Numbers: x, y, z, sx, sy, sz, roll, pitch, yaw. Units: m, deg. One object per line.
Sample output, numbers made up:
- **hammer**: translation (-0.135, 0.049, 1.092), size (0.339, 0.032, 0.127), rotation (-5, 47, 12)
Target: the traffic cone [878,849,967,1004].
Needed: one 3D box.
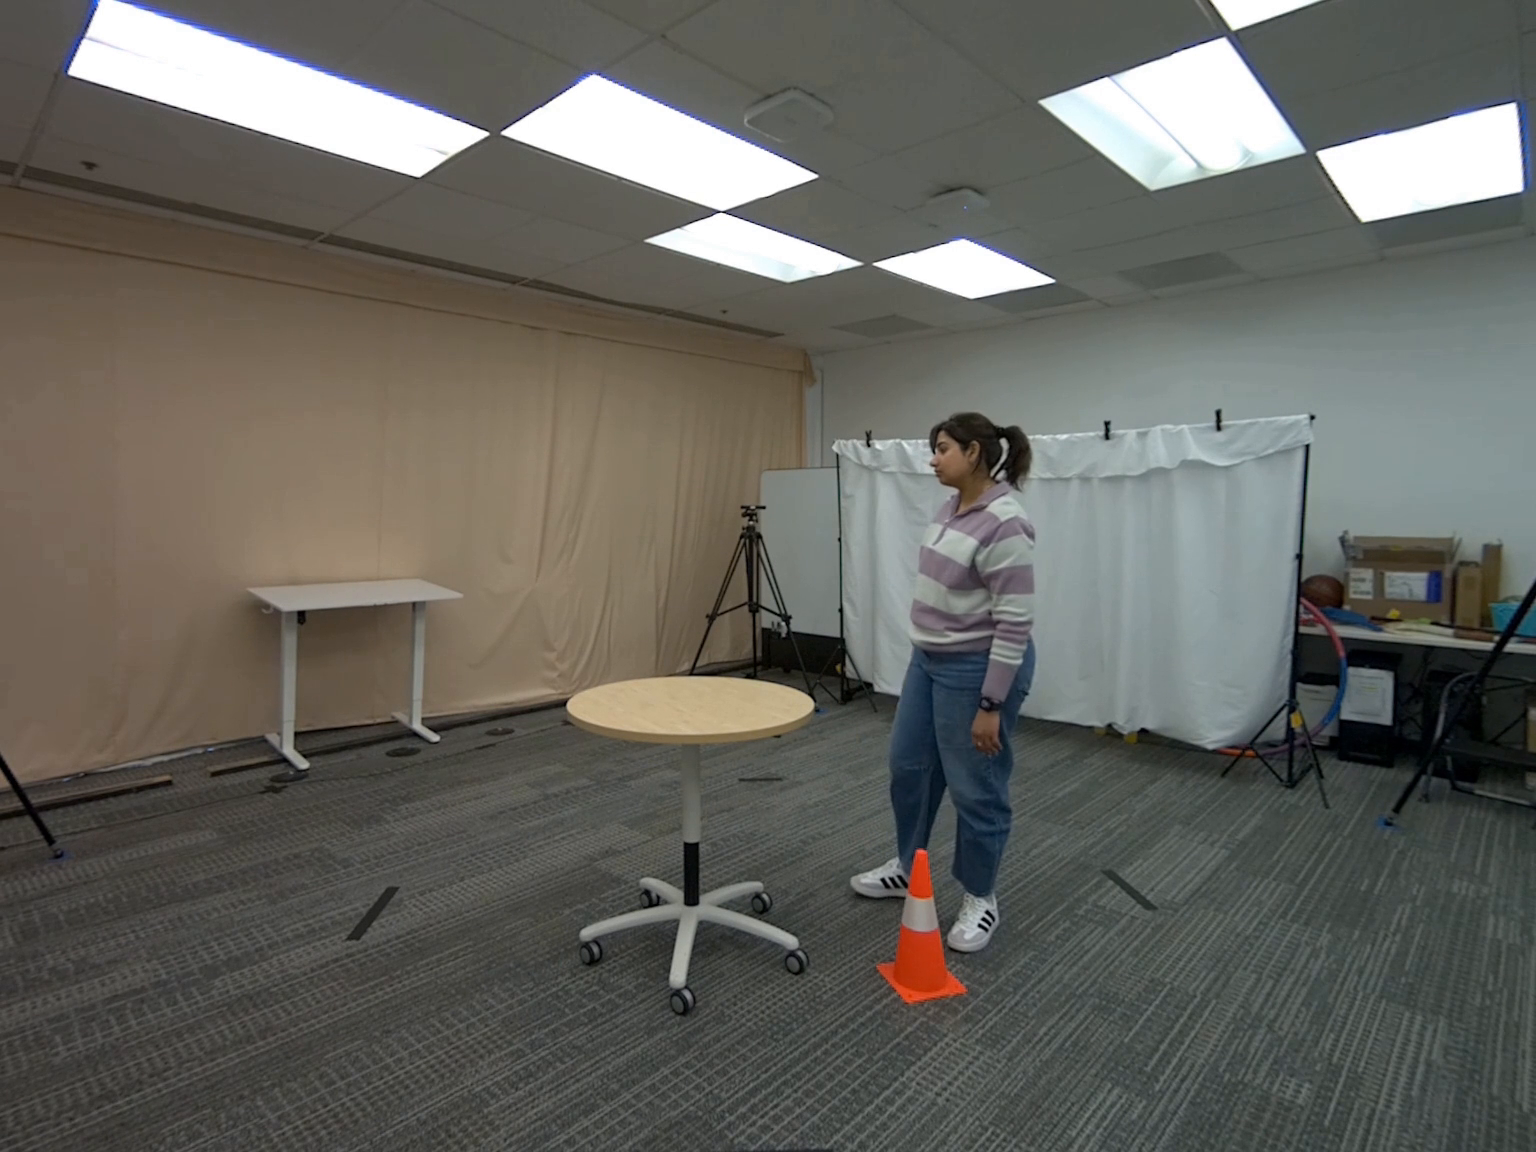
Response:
- **traffic cone**: translation (0.454, 1.004, 2.467), size (0.200, 0.383, 0.209), rotation (-1, 3, -18)
